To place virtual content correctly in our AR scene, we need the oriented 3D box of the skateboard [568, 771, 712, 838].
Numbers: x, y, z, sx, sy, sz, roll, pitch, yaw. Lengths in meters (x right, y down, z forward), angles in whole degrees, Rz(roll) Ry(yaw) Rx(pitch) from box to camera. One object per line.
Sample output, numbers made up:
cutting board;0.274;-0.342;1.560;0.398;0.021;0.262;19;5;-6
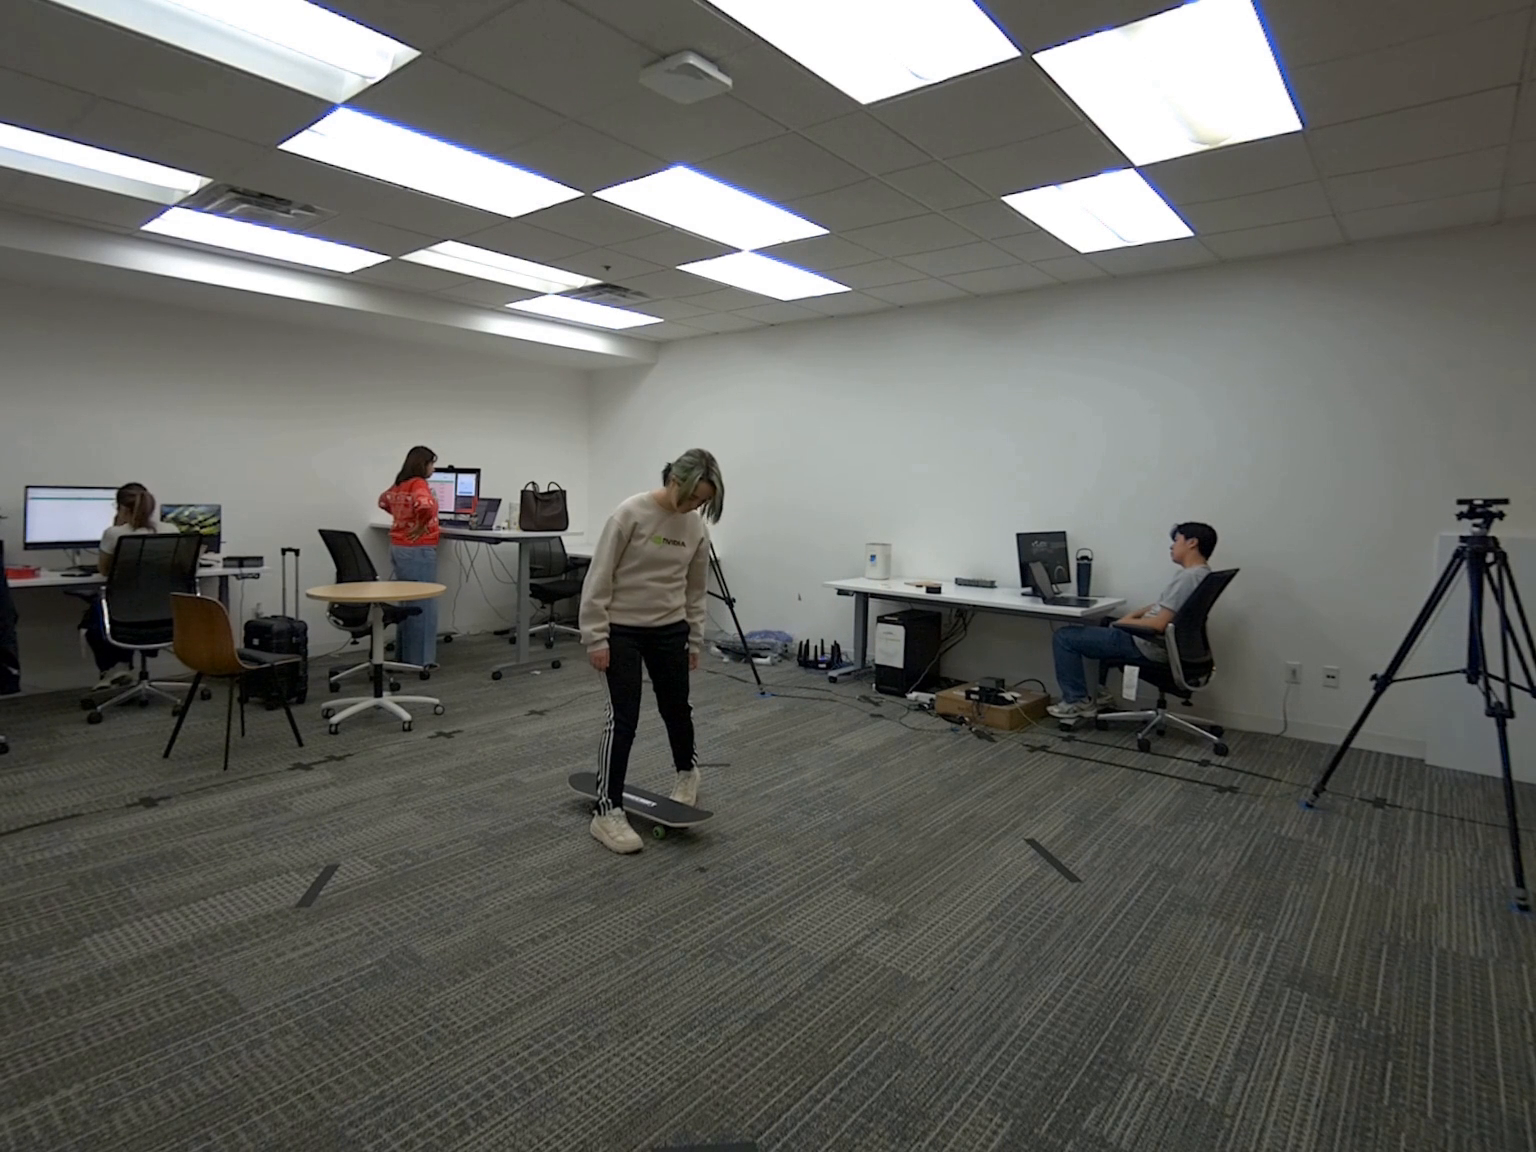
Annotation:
skateboard;-0.560;0.960;3.556;0.811;0.110;0.188;5;8;37
